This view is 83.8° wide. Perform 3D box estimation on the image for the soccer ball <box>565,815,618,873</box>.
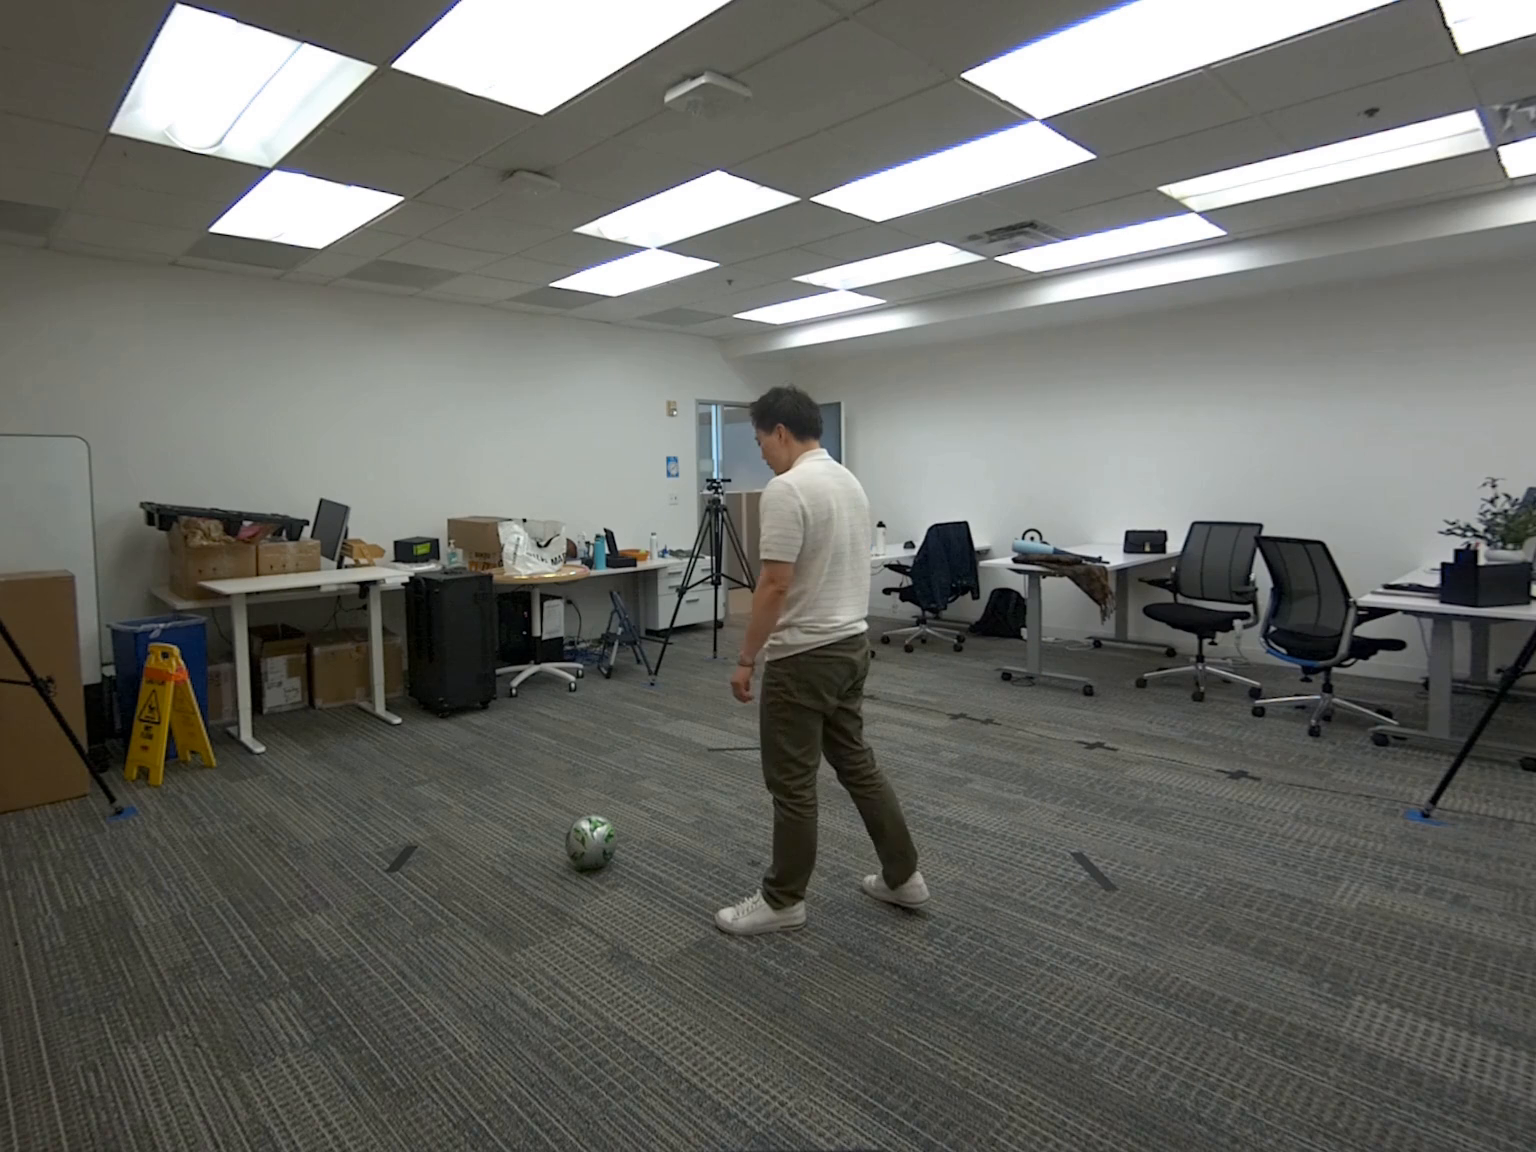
[{"bbox_3d":[-0.637,0.961,3.097,0.187,0.187,0.188,-1,5,-2],"label":"soccer ball"}]
